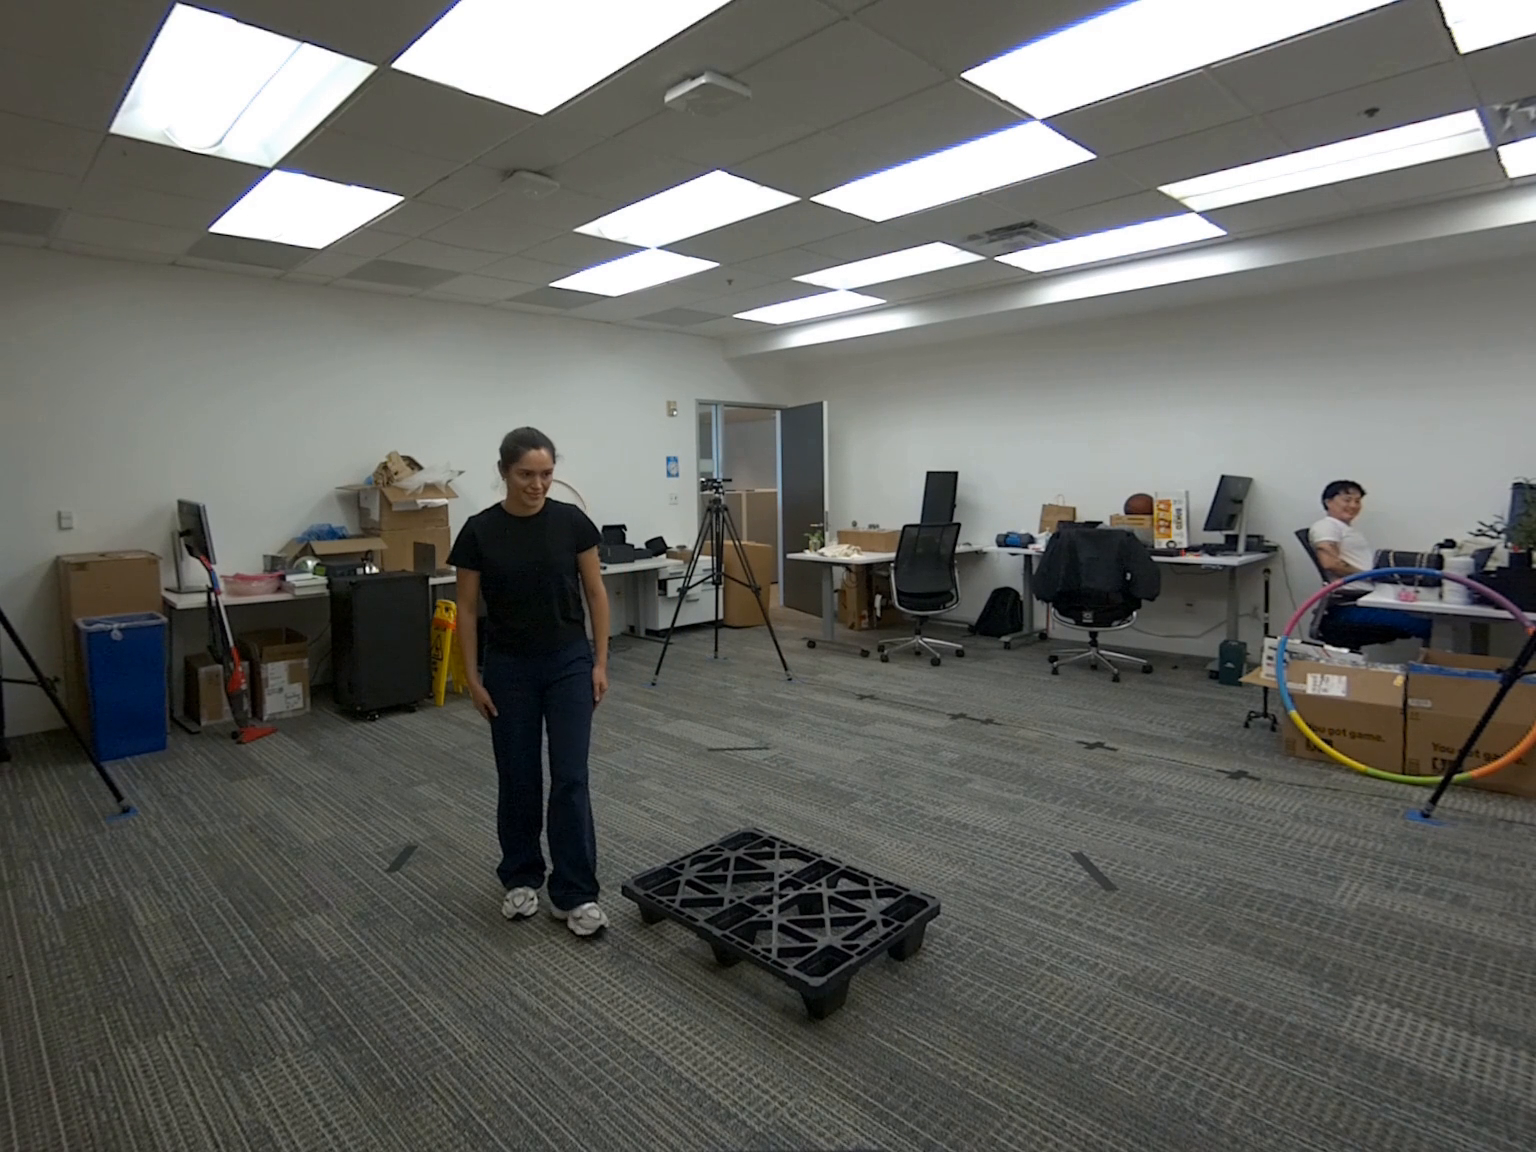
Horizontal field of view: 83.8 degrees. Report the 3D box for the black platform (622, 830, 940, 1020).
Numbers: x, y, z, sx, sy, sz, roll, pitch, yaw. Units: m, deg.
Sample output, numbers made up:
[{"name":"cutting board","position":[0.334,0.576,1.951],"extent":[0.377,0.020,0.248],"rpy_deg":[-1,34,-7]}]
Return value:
[{"name":"black platform","position":[0.028,1.031,2.638],"extent":[0.831,0.143,0.589],"rpy_deg":[6,9,44]}]
